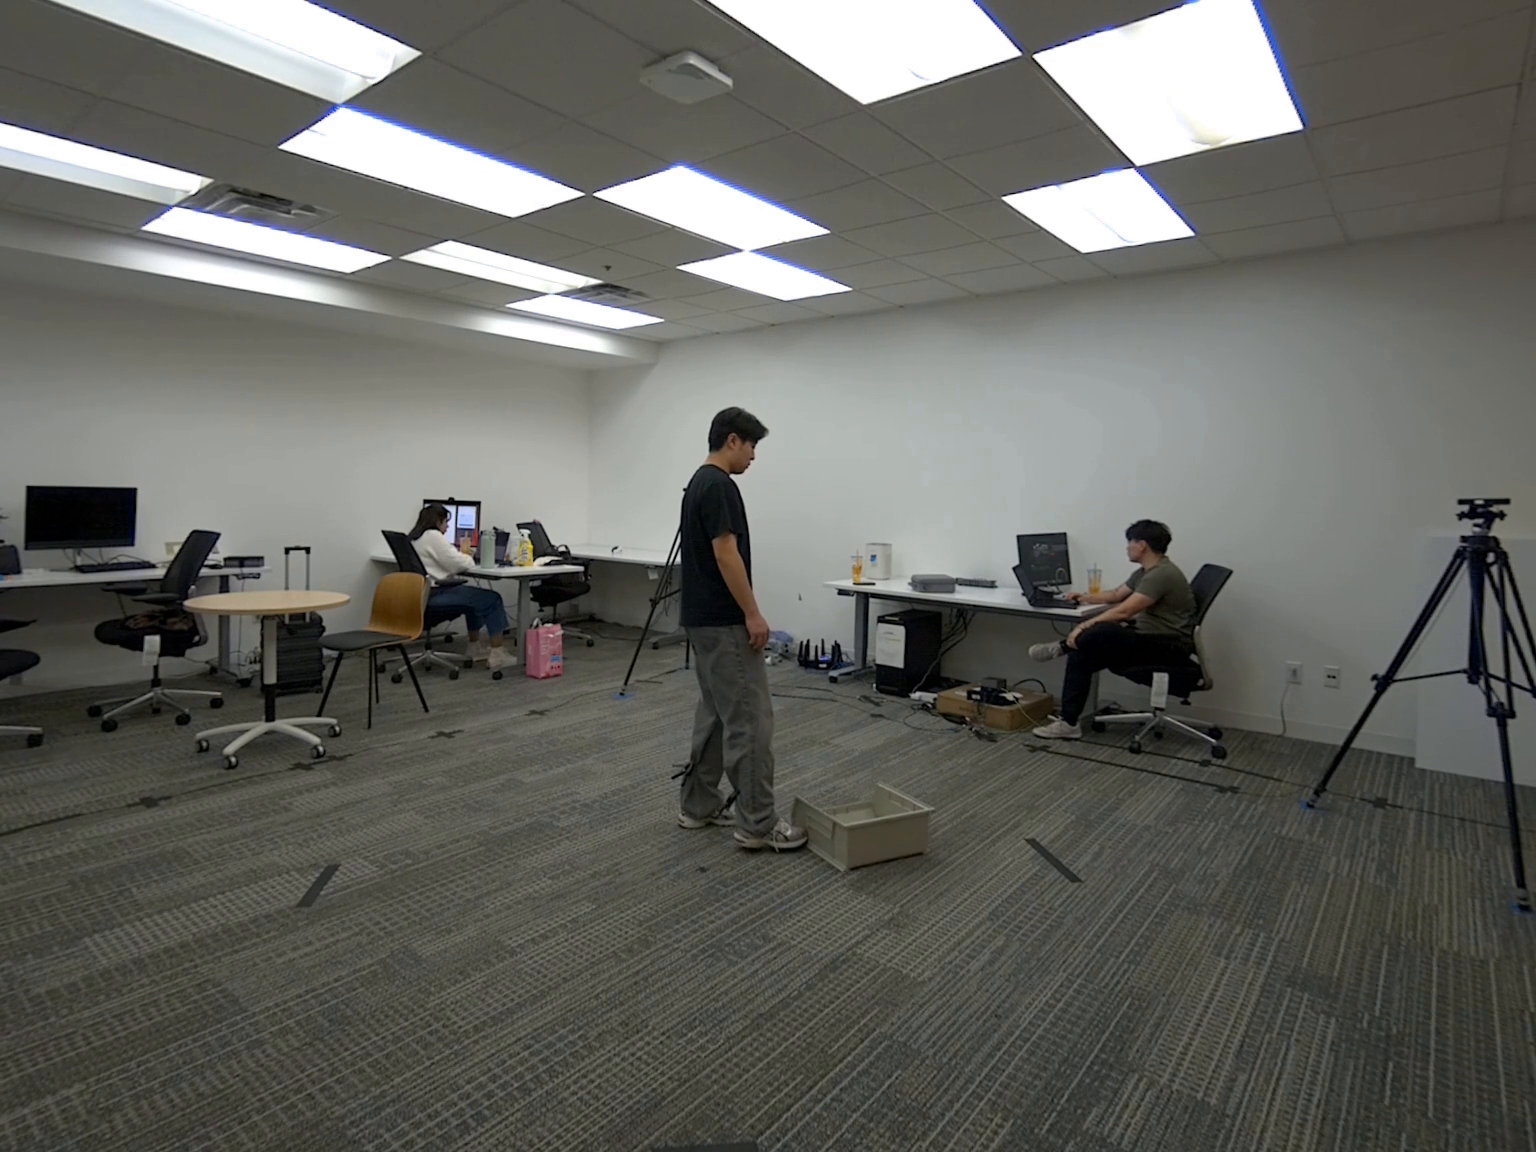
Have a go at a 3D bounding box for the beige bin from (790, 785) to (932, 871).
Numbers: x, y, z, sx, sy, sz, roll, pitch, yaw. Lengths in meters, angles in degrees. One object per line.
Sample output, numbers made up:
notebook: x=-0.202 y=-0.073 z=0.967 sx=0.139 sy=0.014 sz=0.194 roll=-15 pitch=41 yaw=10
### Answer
beige bin: x=0.357 y=0.970 z=3.353 sx=0.411 sy=0.188 sz=0.389 roll=-1 pitch=6 yaw=-29
